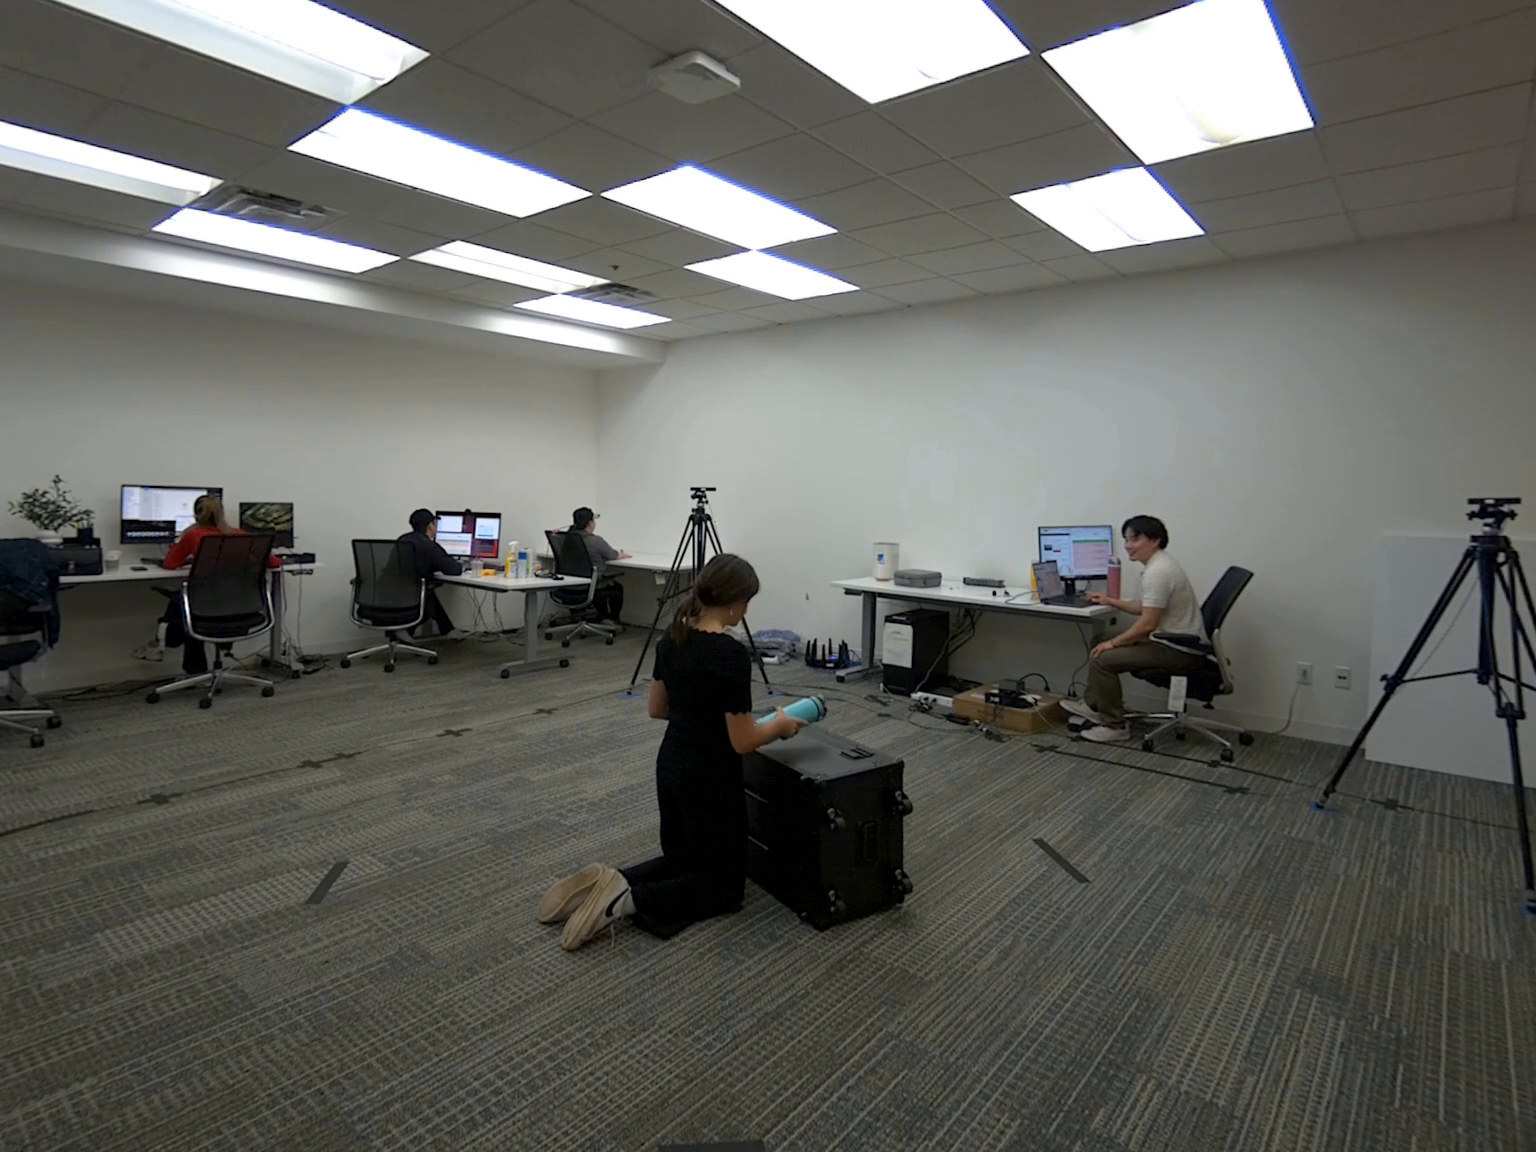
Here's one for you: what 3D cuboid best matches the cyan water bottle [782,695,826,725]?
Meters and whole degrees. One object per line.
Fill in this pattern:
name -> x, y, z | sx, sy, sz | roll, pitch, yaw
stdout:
cyan water bottle -> 0.080, 0.503, 3.008 | 0.279, 0.091, 0.095 | -20, 13, -24
